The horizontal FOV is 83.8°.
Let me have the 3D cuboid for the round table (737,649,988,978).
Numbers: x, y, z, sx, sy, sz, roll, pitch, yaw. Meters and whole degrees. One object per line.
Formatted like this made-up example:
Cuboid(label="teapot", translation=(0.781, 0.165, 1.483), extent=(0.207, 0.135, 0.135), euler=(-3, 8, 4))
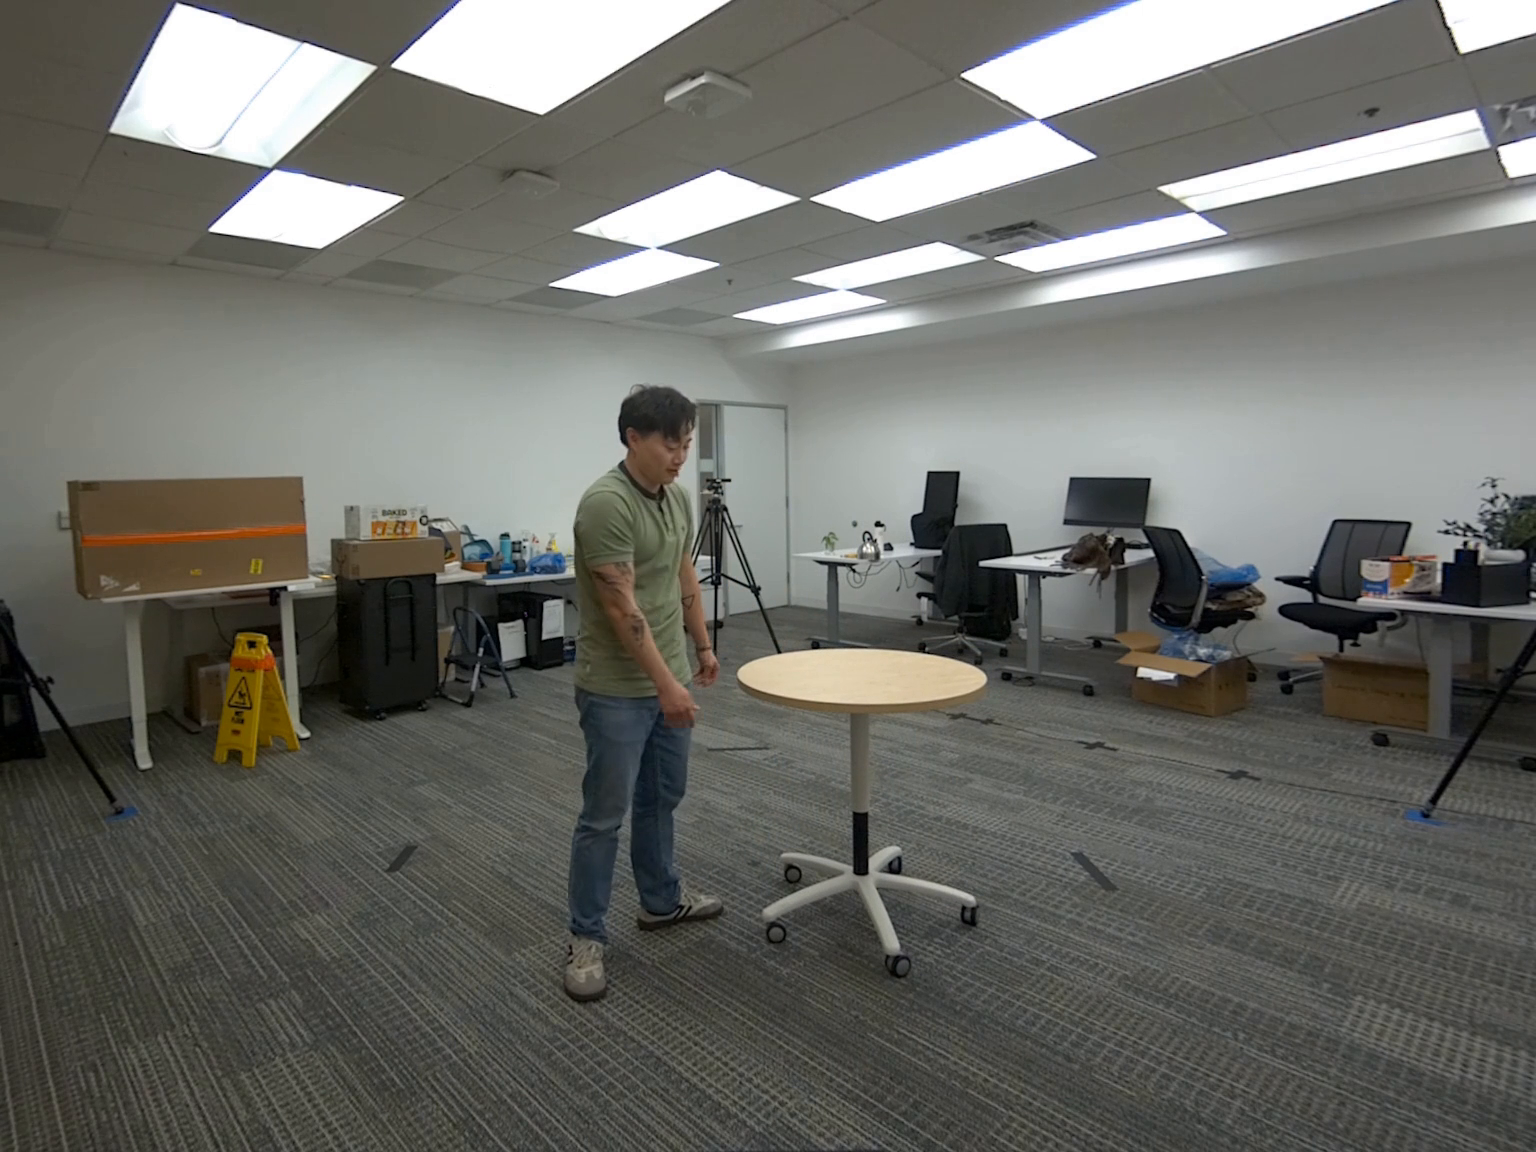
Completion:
Cuboid(label="round table", translation=(0.303, 0.696, 2.701), extent=(0.763, 0.791, 0.768), euler=(-1, 5, -2))
